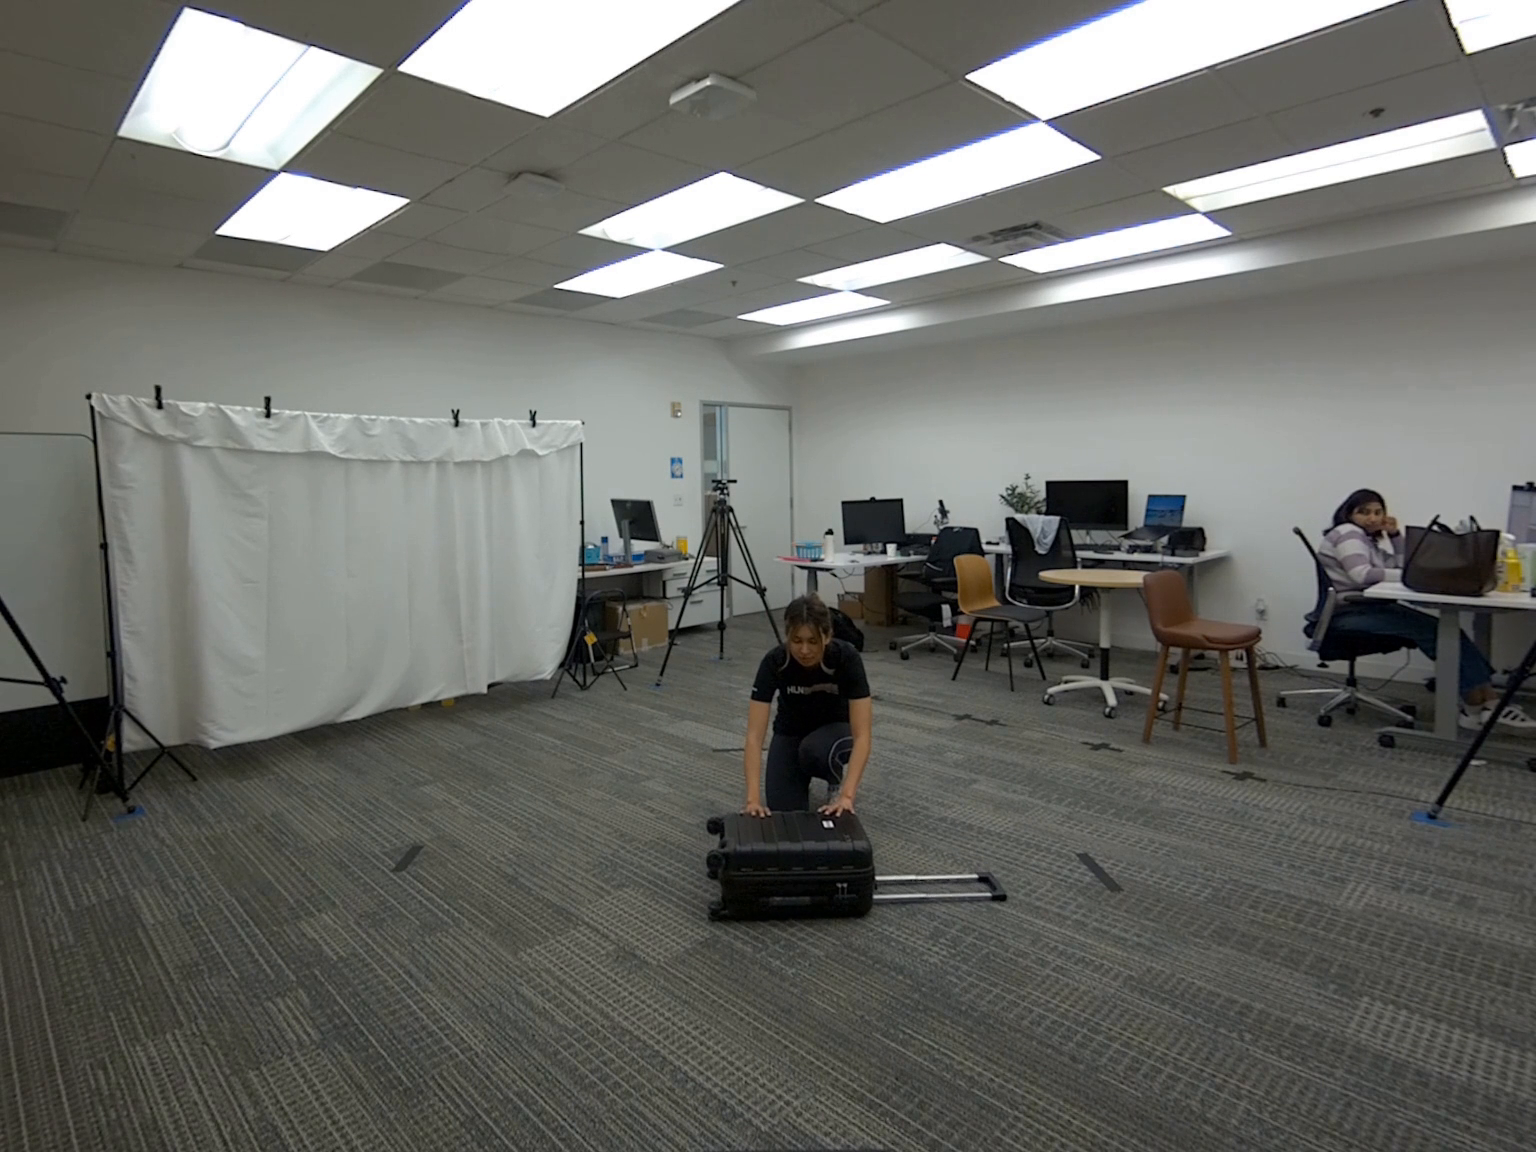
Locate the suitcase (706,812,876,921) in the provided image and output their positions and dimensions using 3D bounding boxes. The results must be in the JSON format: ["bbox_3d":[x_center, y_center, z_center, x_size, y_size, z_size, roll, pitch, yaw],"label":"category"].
[{"bbox_3d":[0.281,0.949,2.850,0.978,0.256,0.385,-3,4,-1],"label":"suitcase"}]
